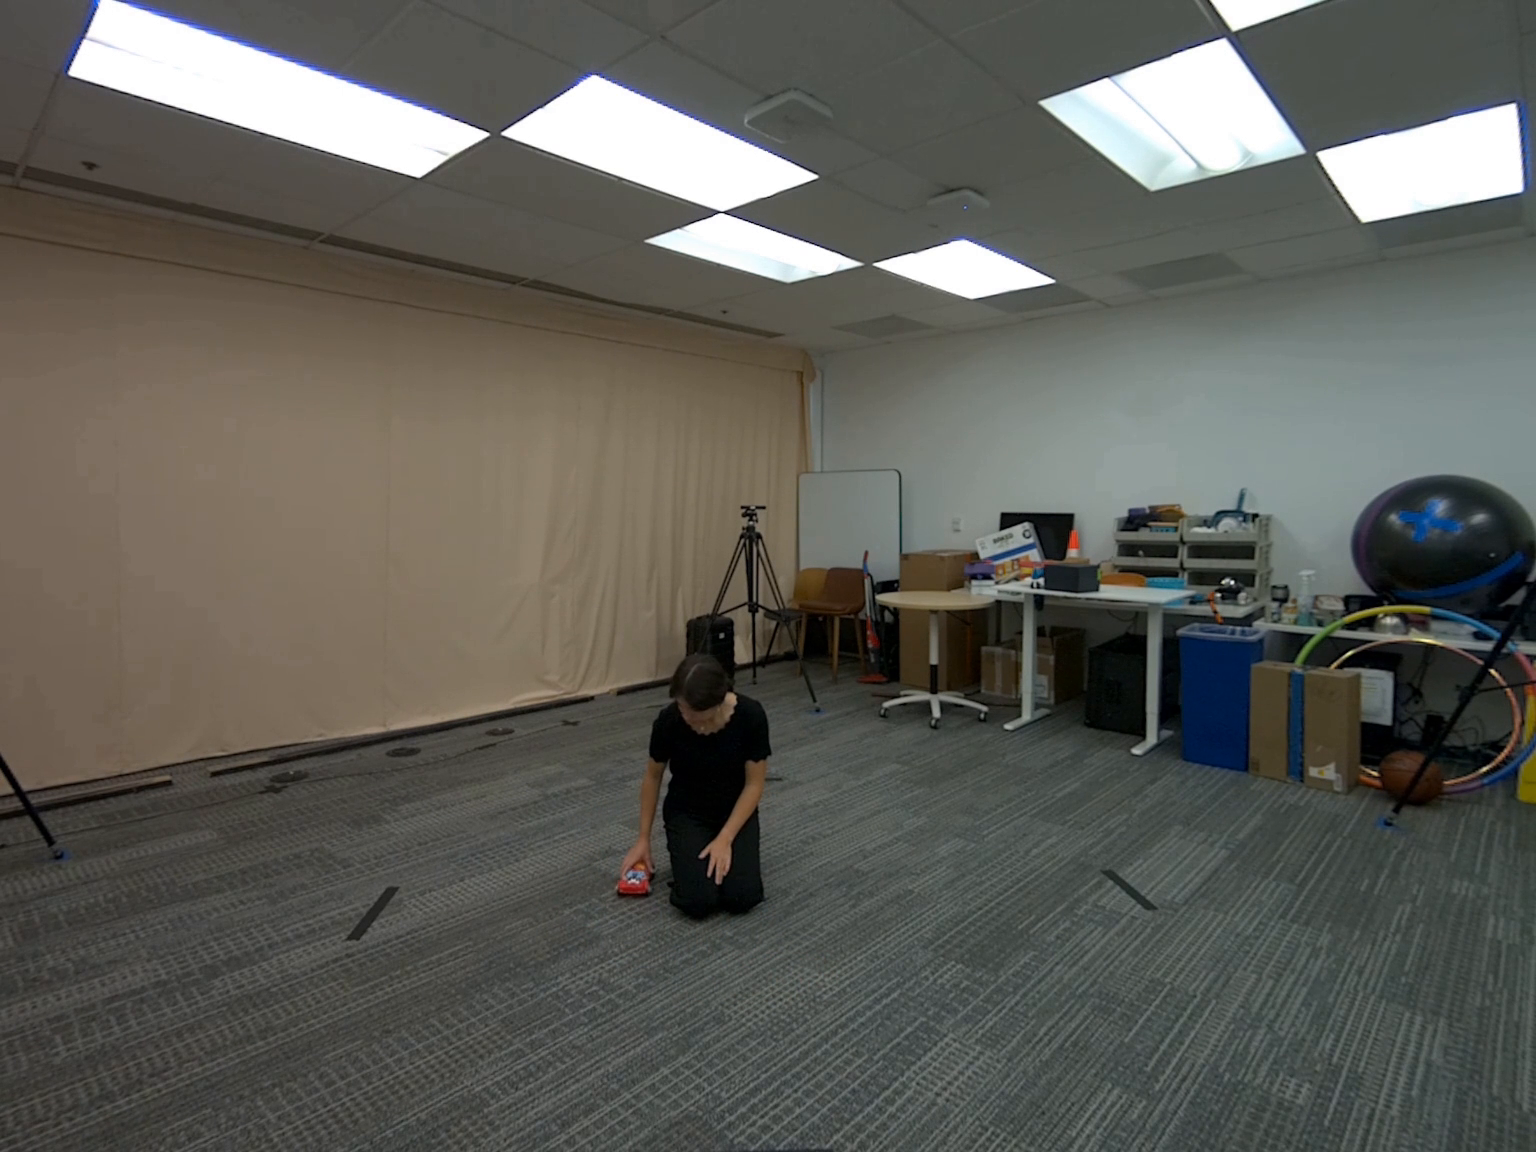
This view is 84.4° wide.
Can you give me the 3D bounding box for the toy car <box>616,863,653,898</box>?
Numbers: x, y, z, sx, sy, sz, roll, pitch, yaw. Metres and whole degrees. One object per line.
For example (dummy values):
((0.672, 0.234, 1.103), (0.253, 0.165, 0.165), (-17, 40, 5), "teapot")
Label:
((-0.482, 1.109, 3.113), (0.130, 0.082, 0.256), (-1, 14, 0), "toy car")
